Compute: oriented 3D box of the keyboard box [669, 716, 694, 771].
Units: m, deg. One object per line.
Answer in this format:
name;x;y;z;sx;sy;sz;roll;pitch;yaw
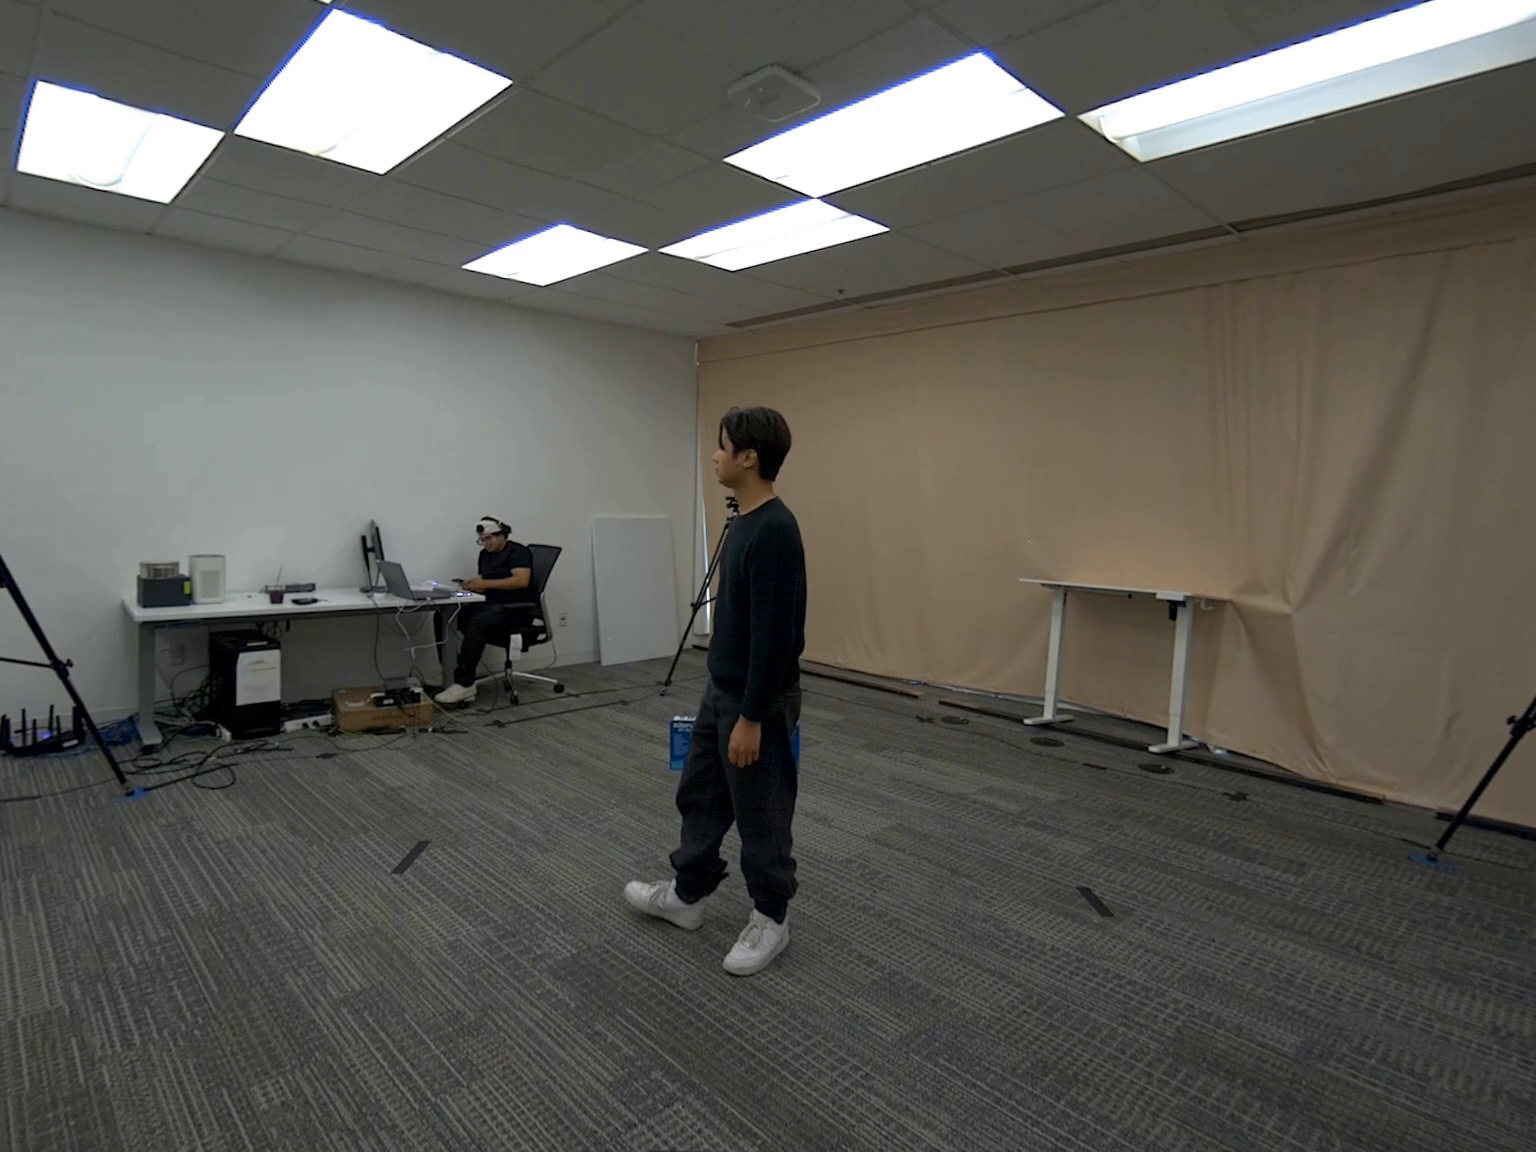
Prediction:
keyboard box;-0.122;0.568;2.835;0.438;0.175;0.059;0;4;4
